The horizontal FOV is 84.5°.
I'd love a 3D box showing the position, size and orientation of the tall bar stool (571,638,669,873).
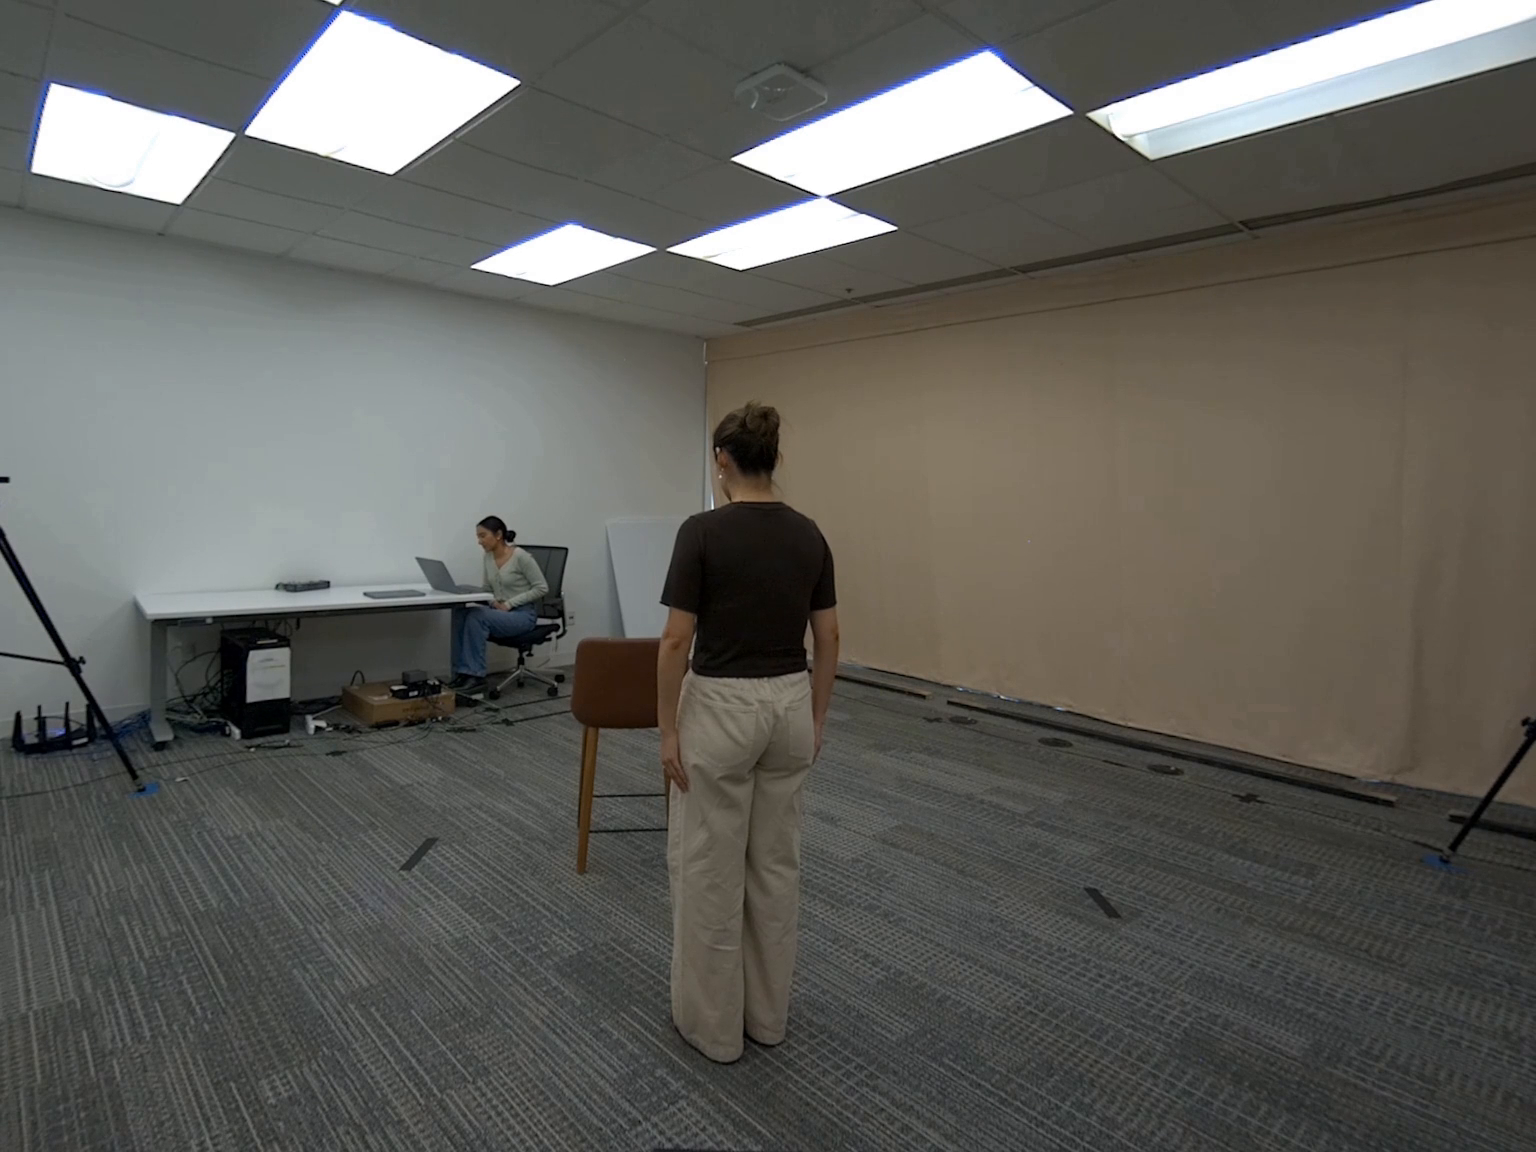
[{"bbox_3d":[-0.546,0.642,3.295,0.453,0.886,0.472,0,5,-9],"label":"tall bar stool"}]
